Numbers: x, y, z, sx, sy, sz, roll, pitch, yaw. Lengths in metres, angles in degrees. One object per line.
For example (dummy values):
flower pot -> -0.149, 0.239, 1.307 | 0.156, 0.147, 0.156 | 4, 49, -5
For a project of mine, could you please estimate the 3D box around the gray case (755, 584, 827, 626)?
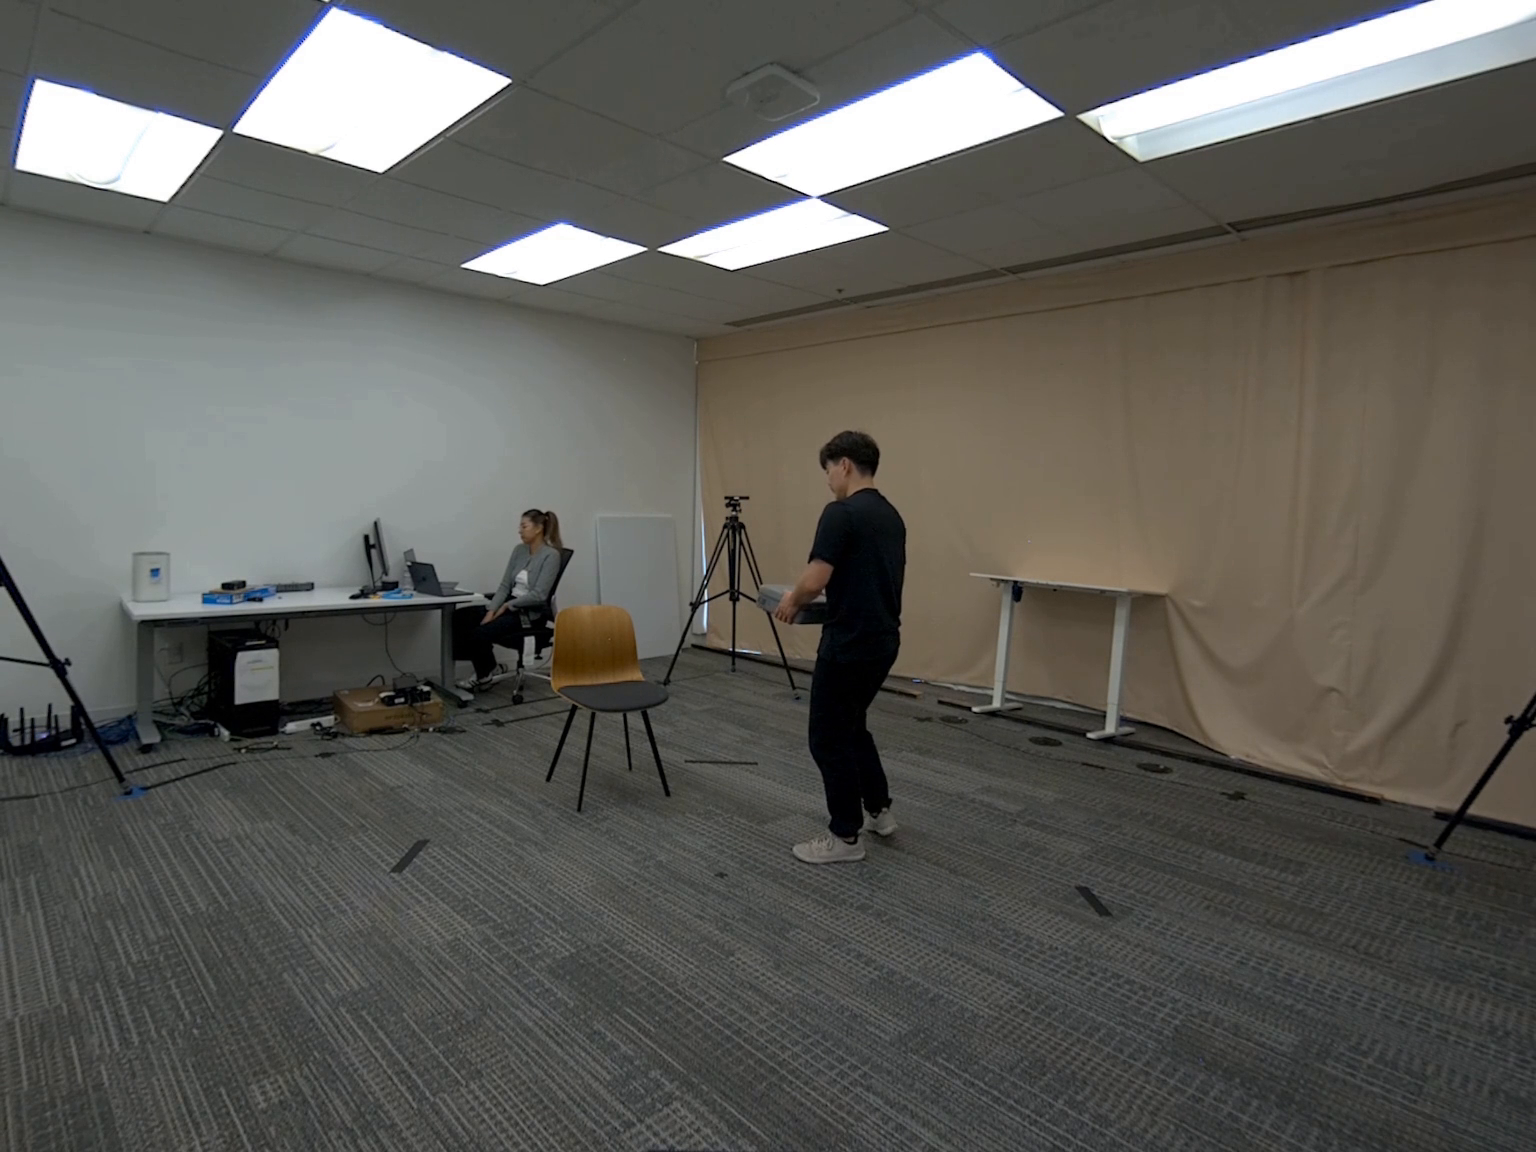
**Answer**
gray case -> 0.104, 0.102, 3.495 | 0.251, 0.104, 0.268 | 1, 13, -39
